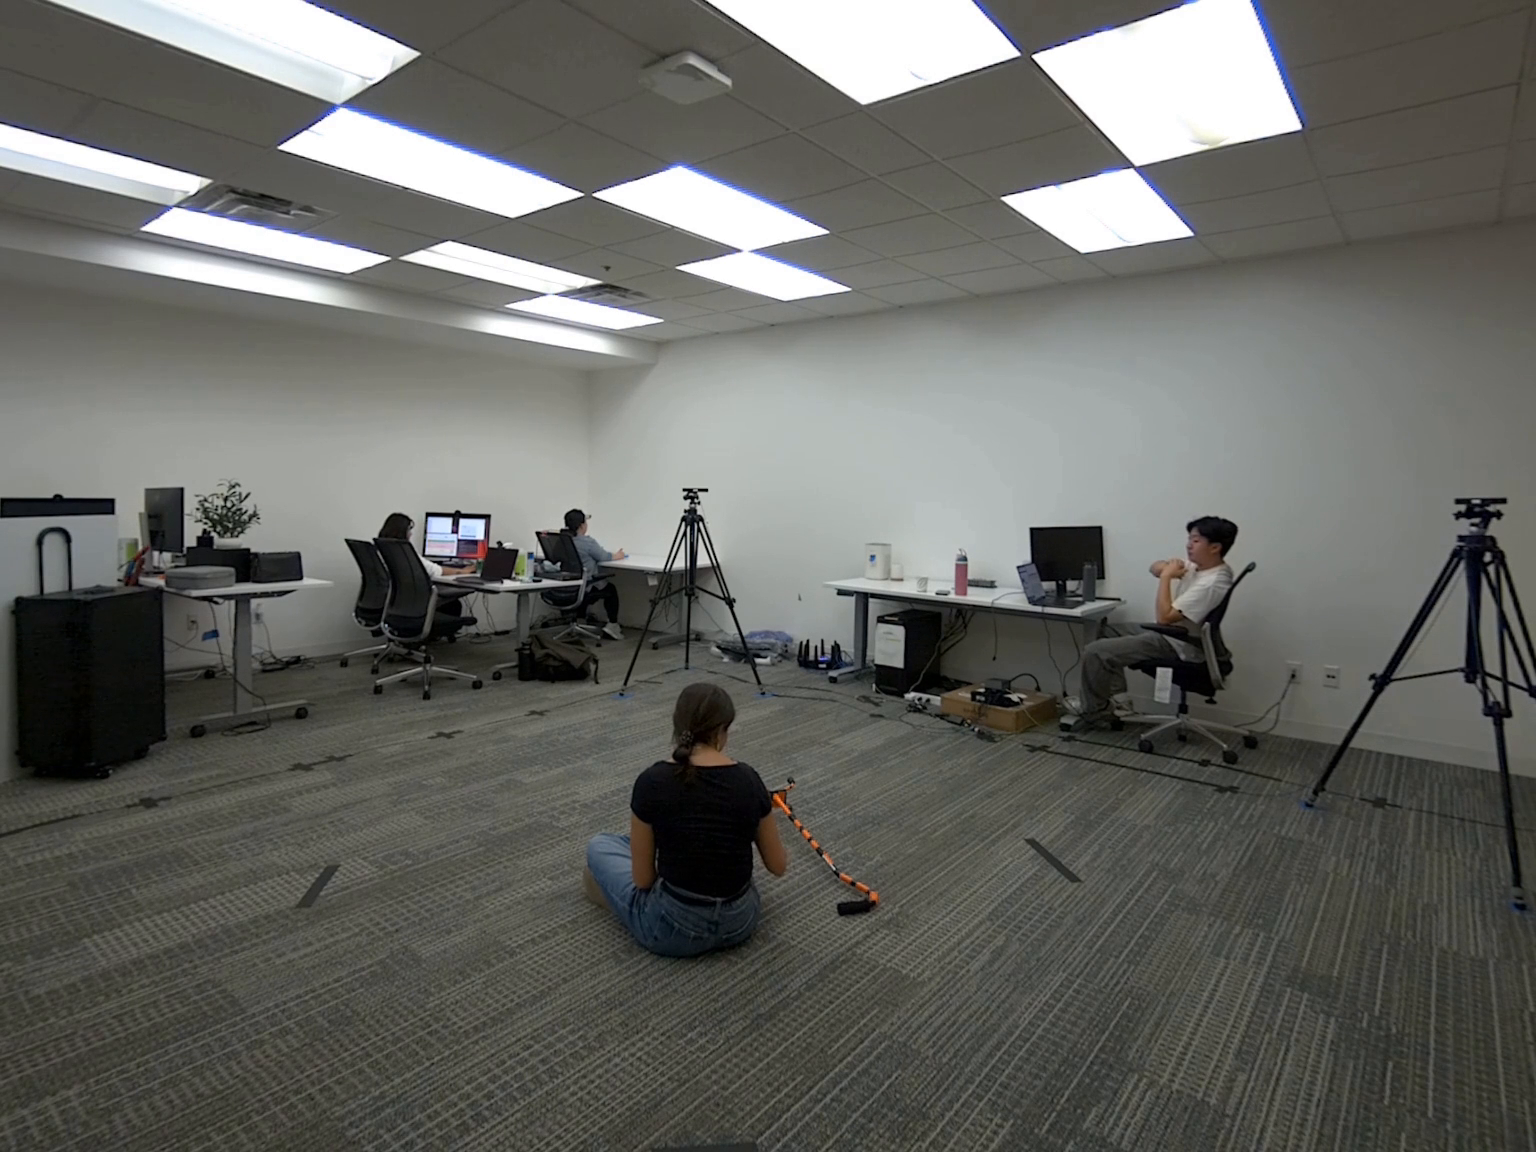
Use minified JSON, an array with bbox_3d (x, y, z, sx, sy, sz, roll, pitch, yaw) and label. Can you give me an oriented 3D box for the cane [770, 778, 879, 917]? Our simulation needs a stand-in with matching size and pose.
[{"bbox_3d":[0.169,1.010,3.246,0.202,0.150,0.932,1,10,-20],"label":"cane"}]
